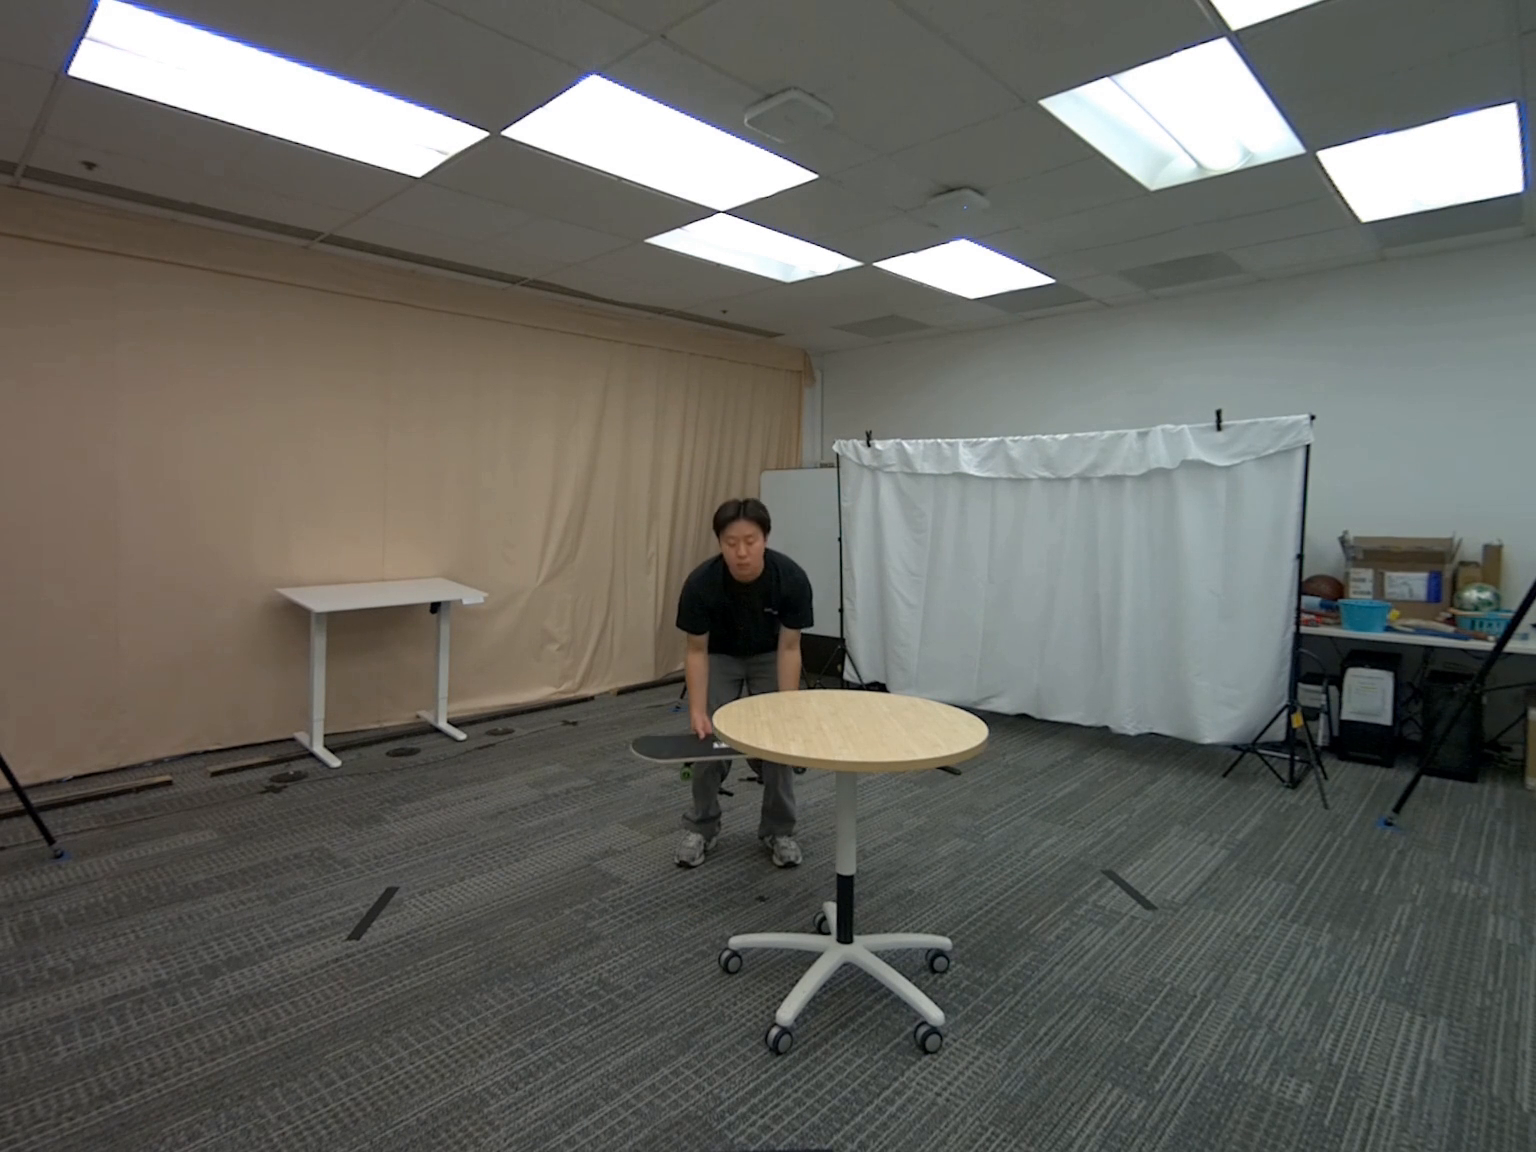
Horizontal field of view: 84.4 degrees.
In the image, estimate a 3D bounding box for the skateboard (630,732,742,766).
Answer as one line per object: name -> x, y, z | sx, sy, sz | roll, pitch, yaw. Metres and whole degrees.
skateboard -> -0.096, 0.630, 3.015 | 0.784, 0.109, 0.195 | -2, 15, -1
